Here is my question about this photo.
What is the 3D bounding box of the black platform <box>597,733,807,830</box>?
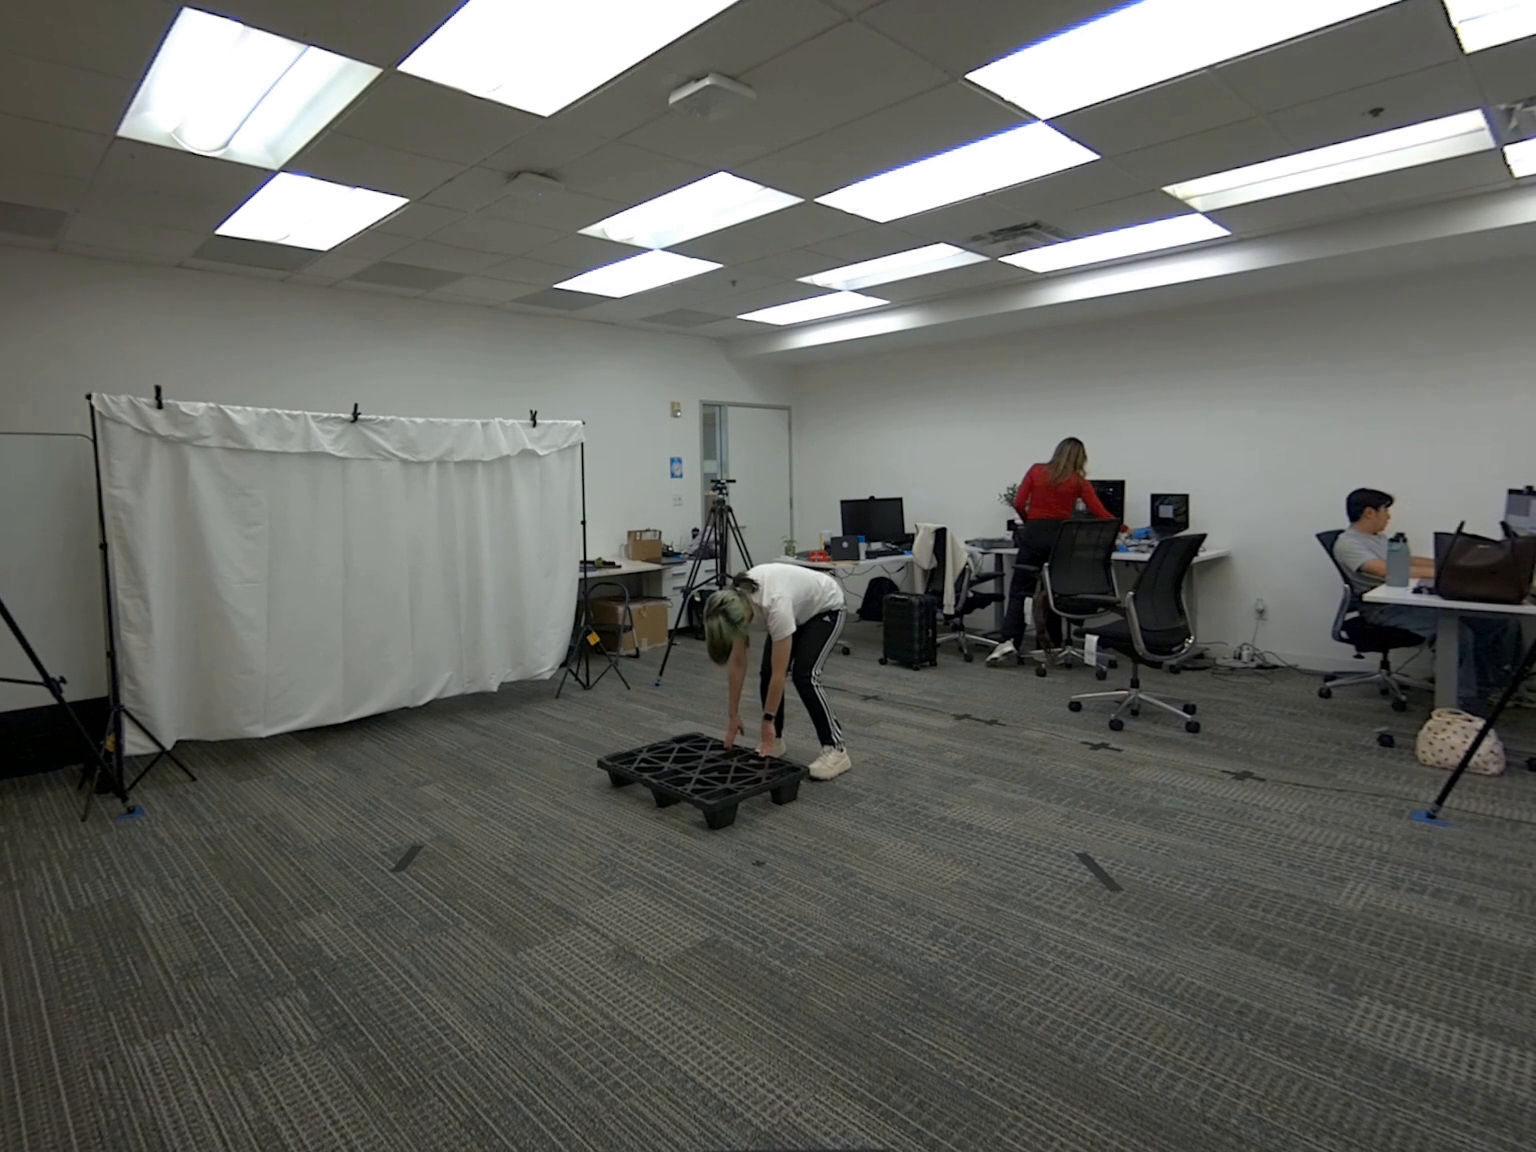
[{"bbox_3d":[-0.297,0.903,3.839,0.589,0.143,0.830,-6,8,-43],"label":"black platform"}]
